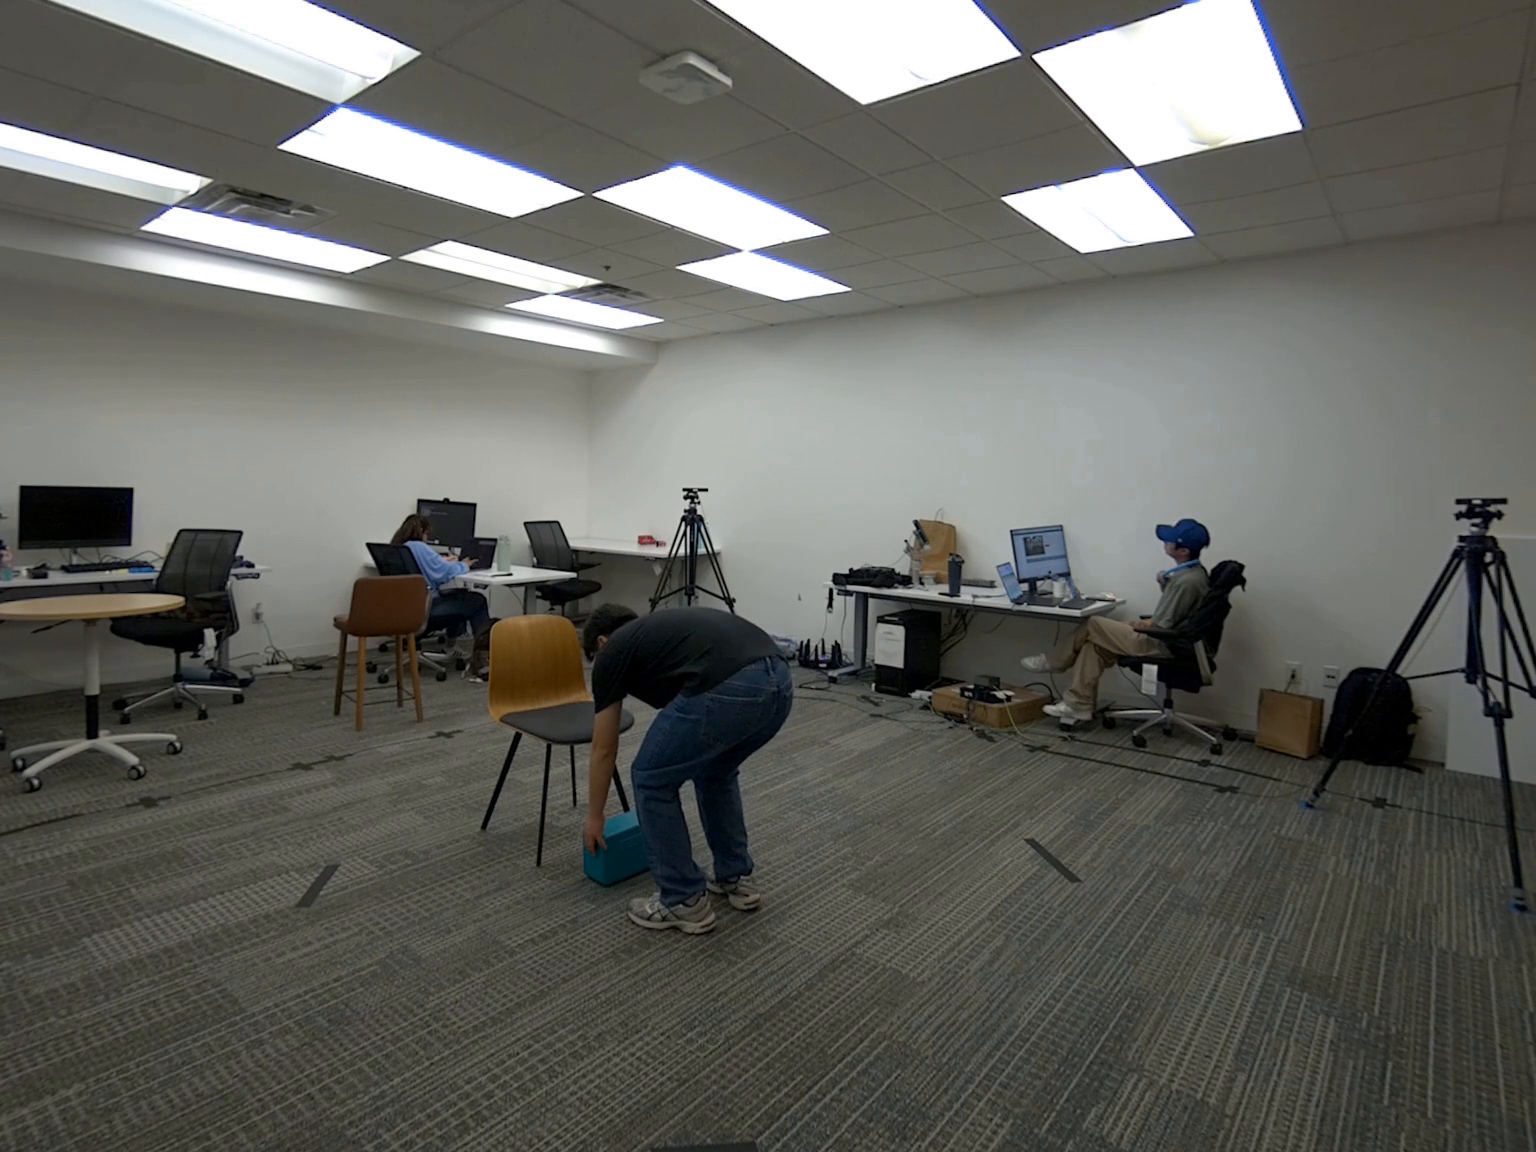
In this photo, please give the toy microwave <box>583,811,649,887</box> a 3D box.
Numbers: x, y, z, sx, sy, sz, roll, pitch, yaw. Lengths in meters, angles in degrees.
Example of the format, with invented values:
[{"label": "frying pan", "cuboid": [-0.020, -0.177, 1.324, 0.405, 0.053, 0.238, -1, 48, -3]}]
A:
[{"label": "toy microwave", "cuboid": [-0.538, 0.969, 3.075, 0.157, 0.183, 0.278, 3, 8, 45]}]
